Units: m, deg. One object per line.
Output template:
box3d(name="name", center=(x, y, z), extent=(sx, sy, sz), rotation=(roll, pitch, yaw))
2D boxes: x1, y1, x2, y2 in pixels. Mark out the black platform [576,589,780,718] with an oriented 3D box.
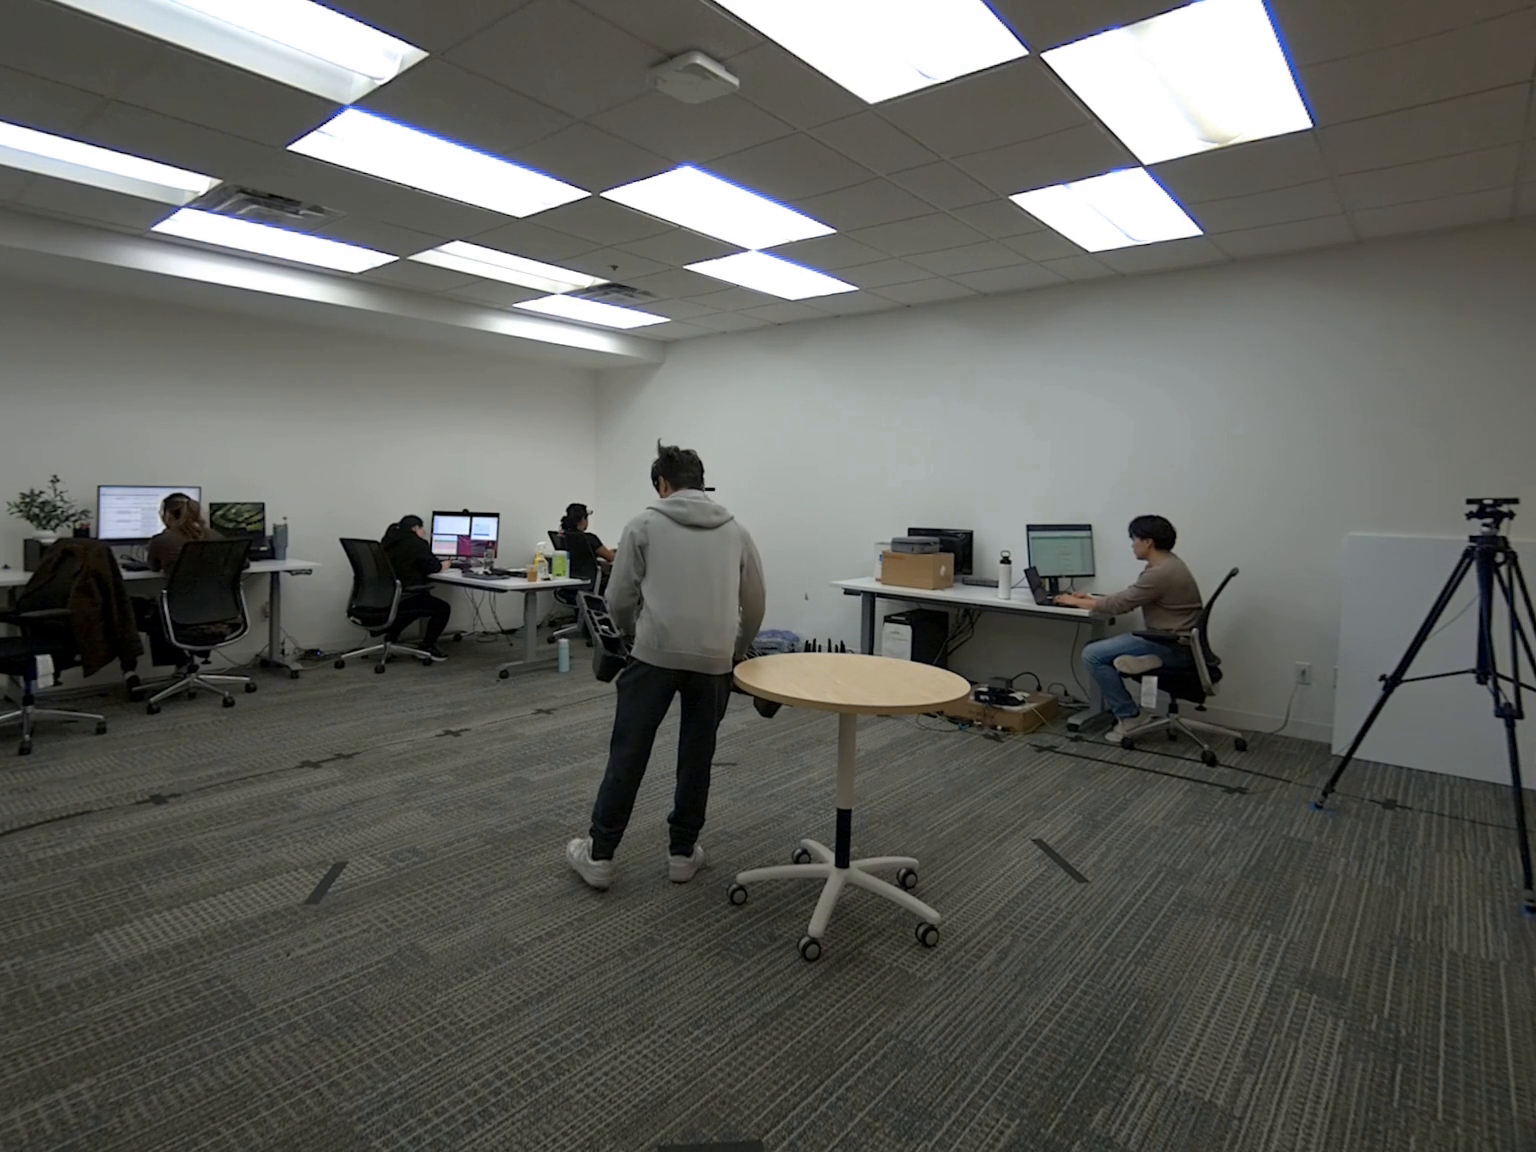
box3d(name="black platform", center=(-0.363, 0.326, 3.367), extent=(0.783, 0.142, 0.626), rotation=(16, 14, -24))
